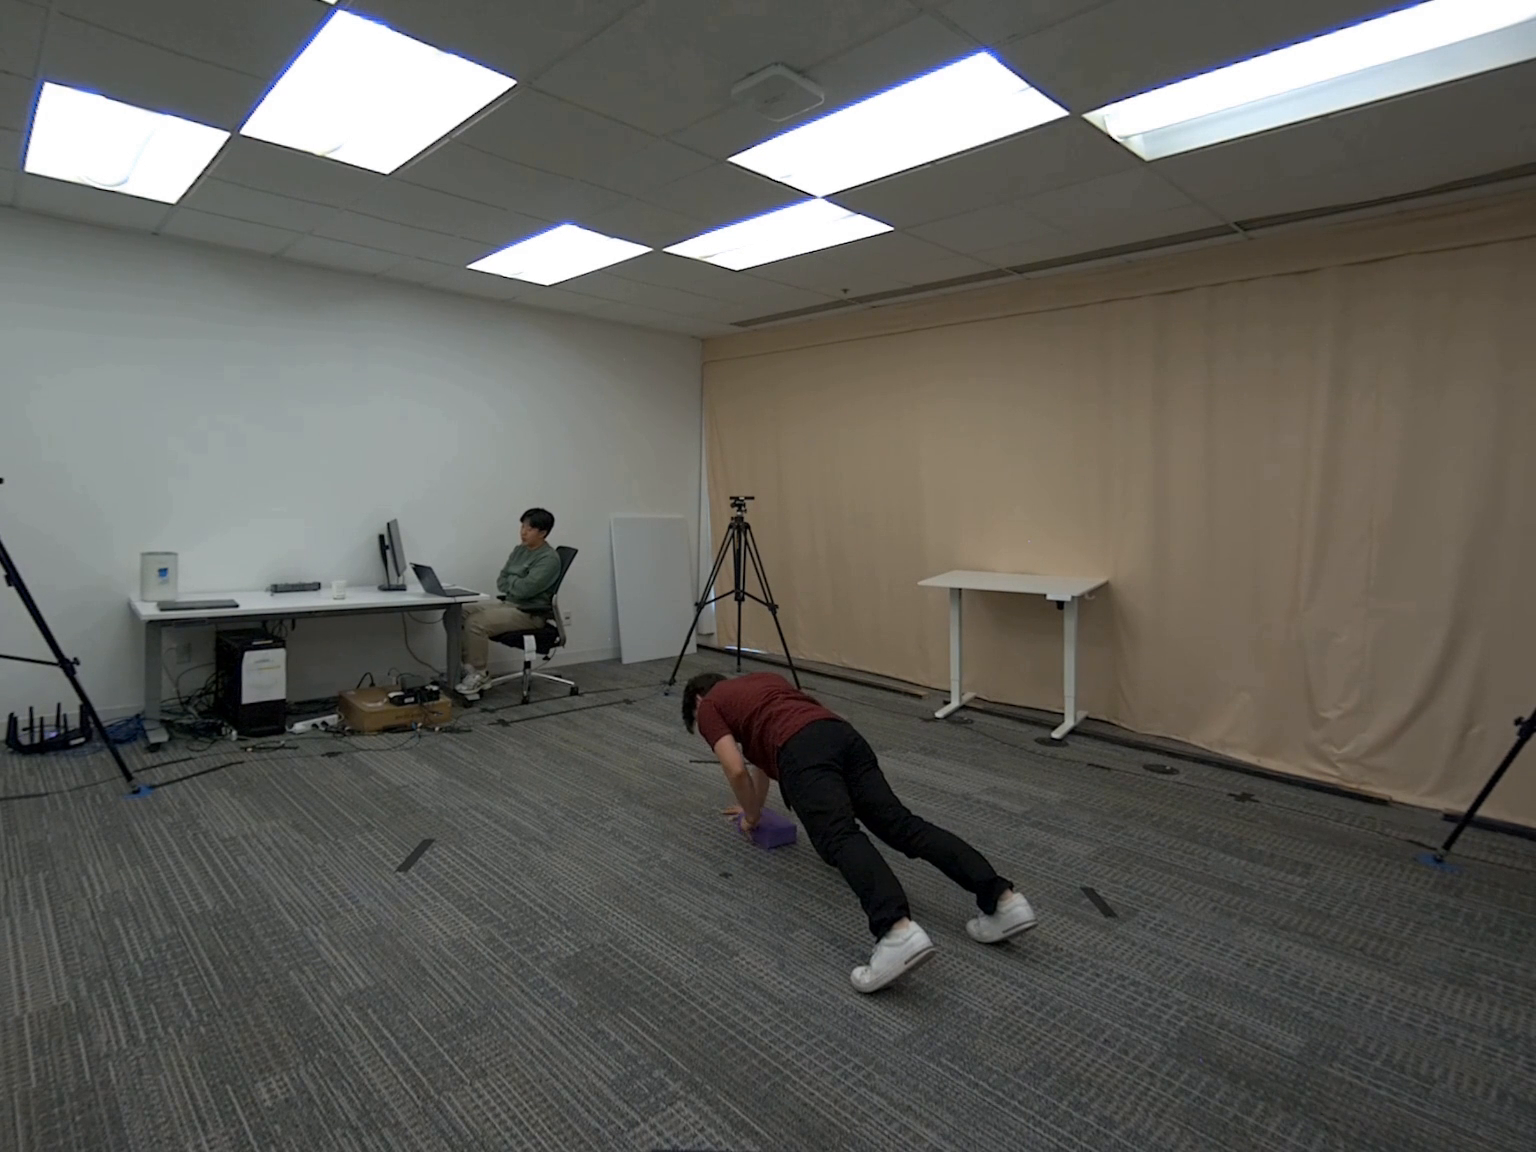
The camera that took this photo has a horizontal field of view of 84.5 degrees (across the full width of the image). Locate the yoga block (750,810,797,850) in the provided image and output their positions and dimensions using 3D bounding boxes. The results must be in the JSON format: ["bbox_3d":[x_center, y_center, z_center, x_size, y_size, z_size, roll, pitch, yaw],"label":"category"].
[{"bbox_3d":[-0.018,1.033,3.460,0.146,0.076,0.235,-3,6,-33],"label":"yoga block"}]
